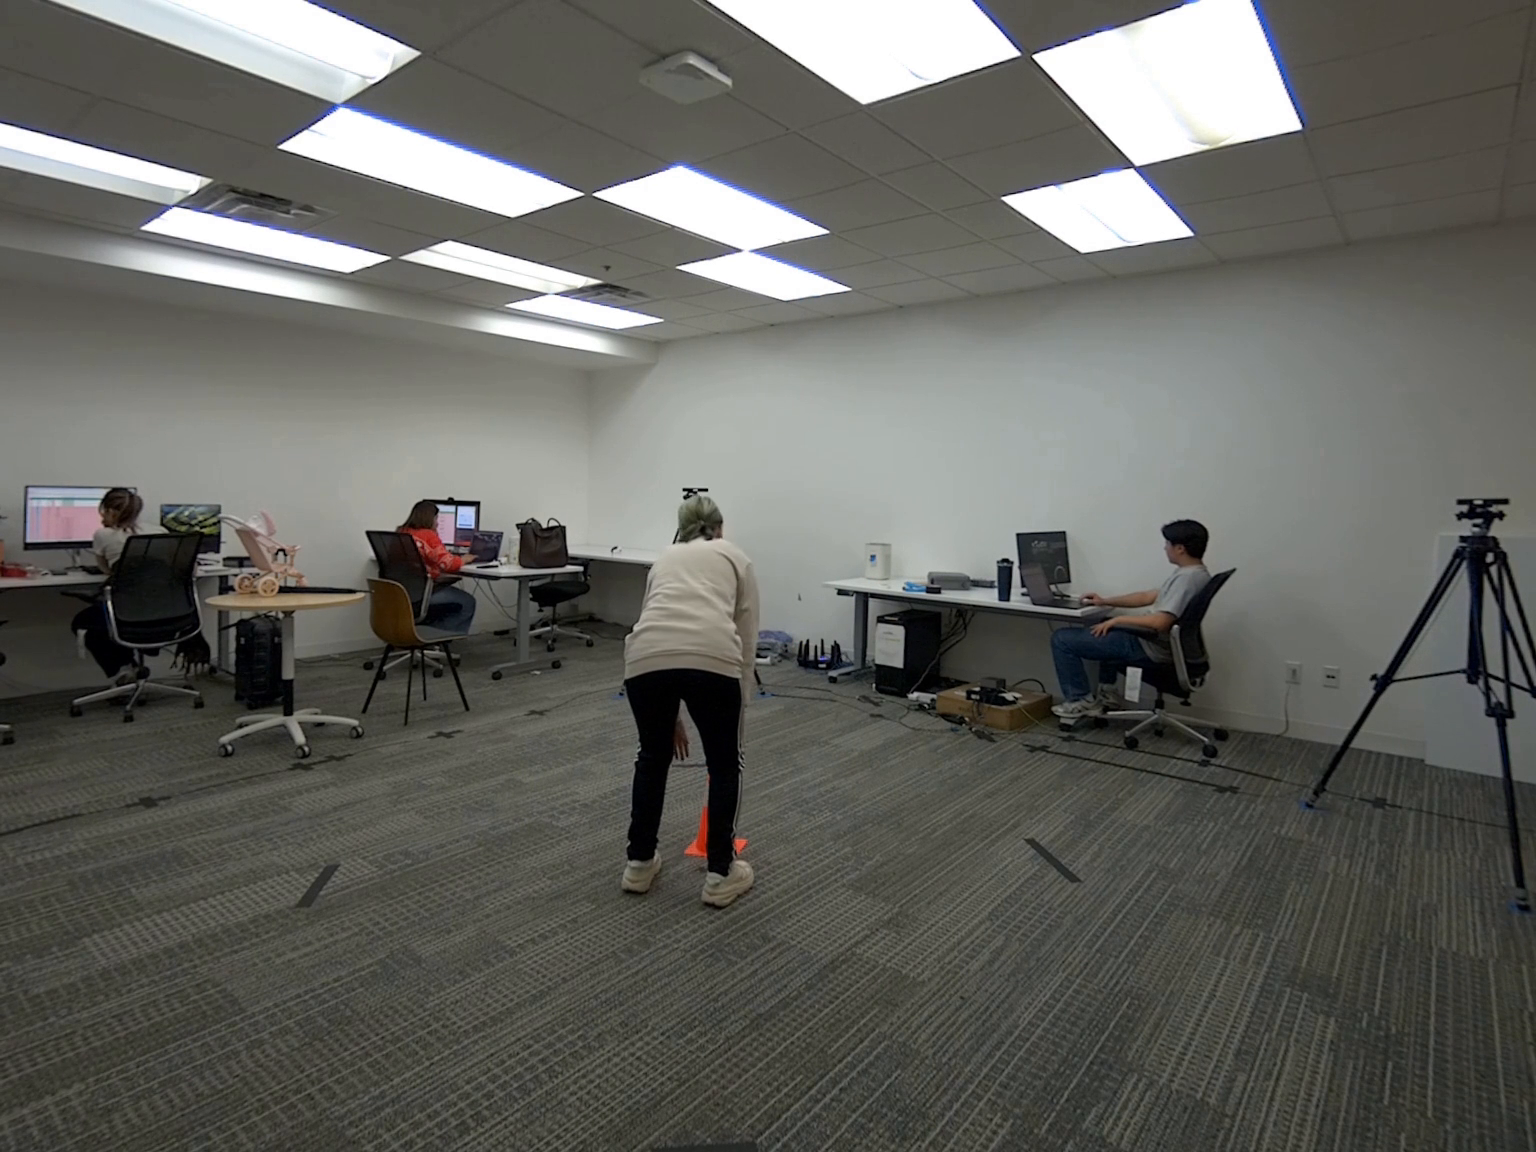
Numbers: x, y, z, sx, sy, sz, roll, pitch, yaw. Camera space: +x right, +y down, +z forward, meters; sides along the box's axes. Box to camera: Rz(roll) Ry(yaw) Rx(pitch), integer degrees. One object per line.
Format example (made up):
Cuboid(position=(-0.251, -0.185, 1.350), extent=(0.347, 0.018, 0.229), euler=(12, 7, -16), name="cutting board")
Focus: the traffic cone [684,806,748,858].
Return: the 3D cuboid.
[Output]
Cuboid(position=(-0.202, 0.865, 3.293), extent=(0.209, 0.382, 0.200), euler=(3, 4, 18), name="traffic cone")
